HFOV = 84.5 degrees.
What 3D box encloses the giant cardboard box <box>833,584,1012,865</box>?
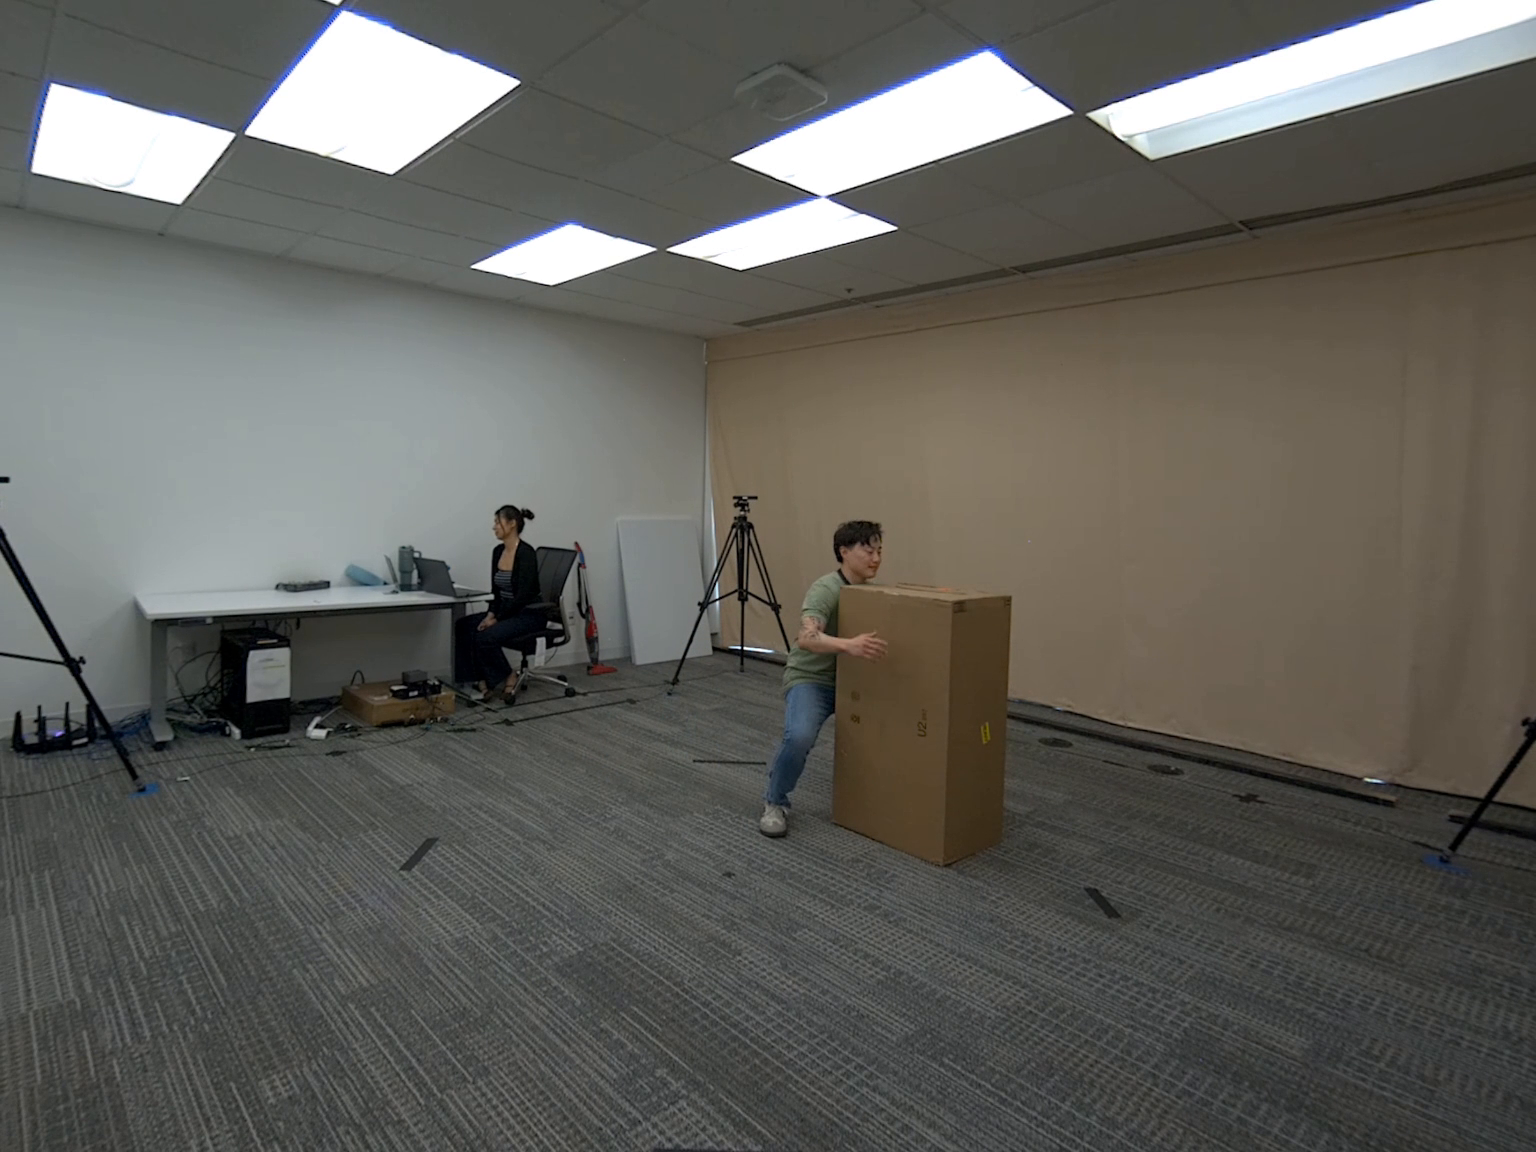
[{"bbox_3d":[0.630,0.573,3.542,0.416,1.024,0.592,0,3,-42],"label":"giant cardboard box"}]
